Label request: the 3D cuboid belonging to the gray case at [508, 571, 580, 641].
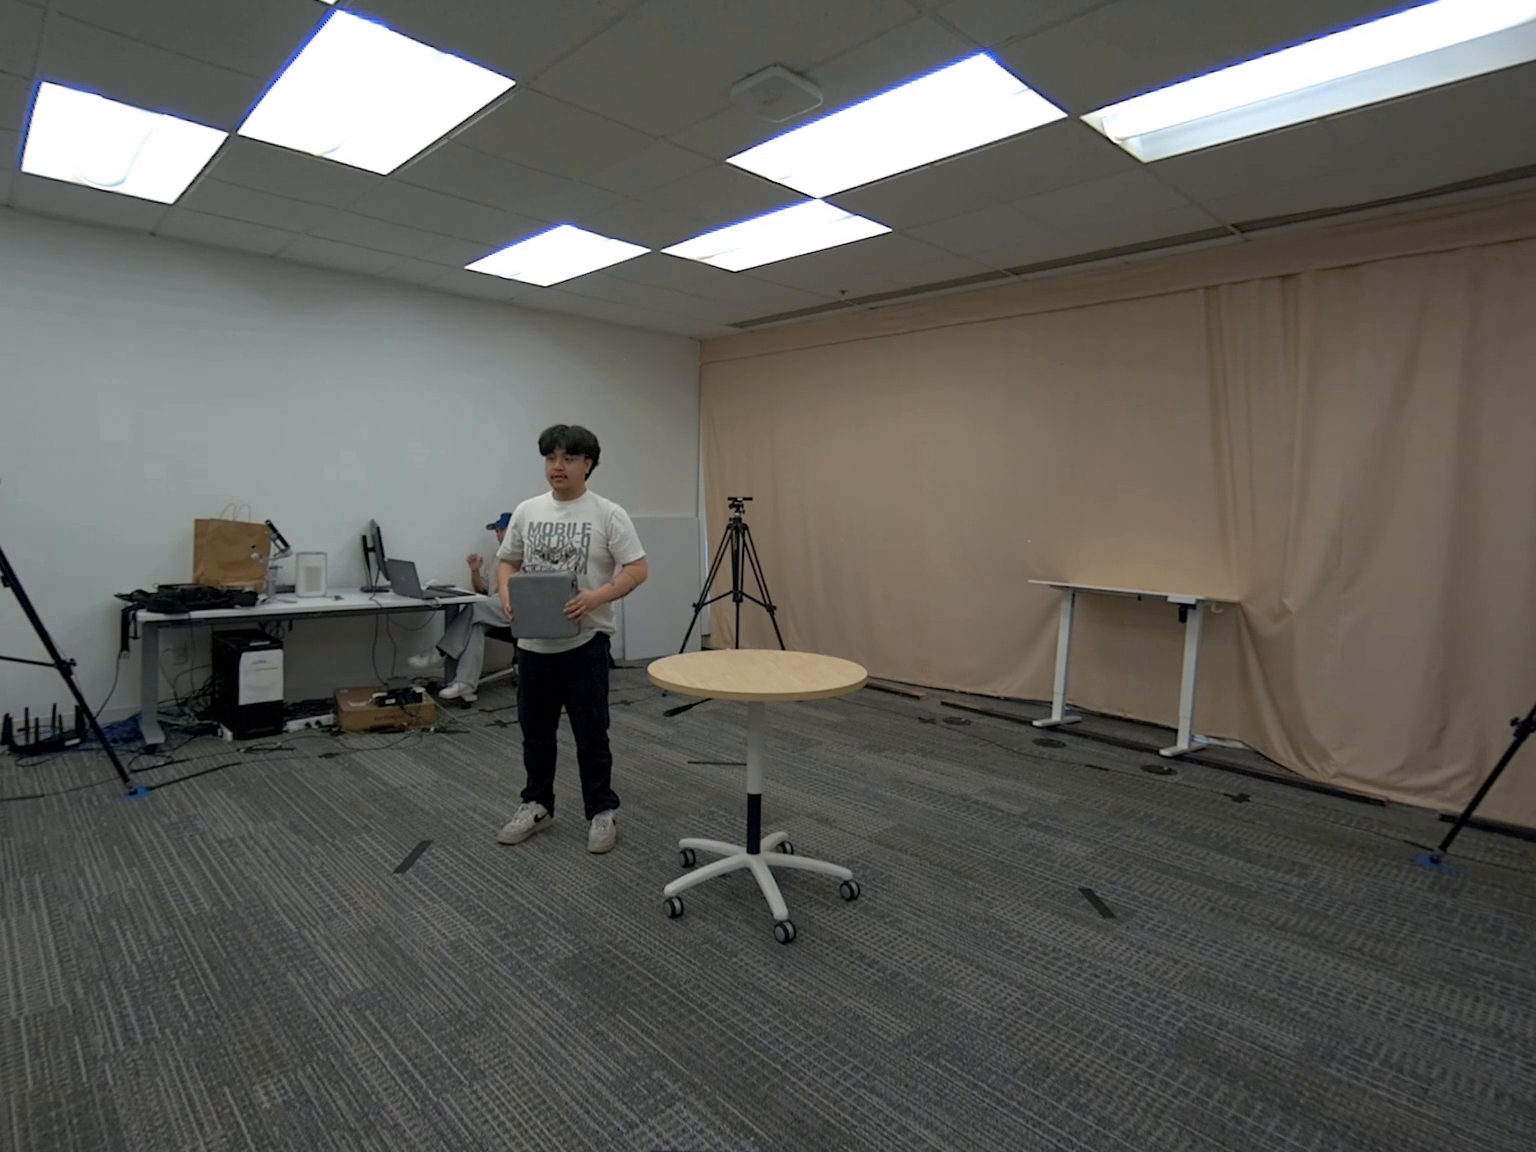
[{"bbox_3d":[-0.859,0.094,3.148,0.258,0.259,0.104,-4,7,9],"label":"gray case"}]
